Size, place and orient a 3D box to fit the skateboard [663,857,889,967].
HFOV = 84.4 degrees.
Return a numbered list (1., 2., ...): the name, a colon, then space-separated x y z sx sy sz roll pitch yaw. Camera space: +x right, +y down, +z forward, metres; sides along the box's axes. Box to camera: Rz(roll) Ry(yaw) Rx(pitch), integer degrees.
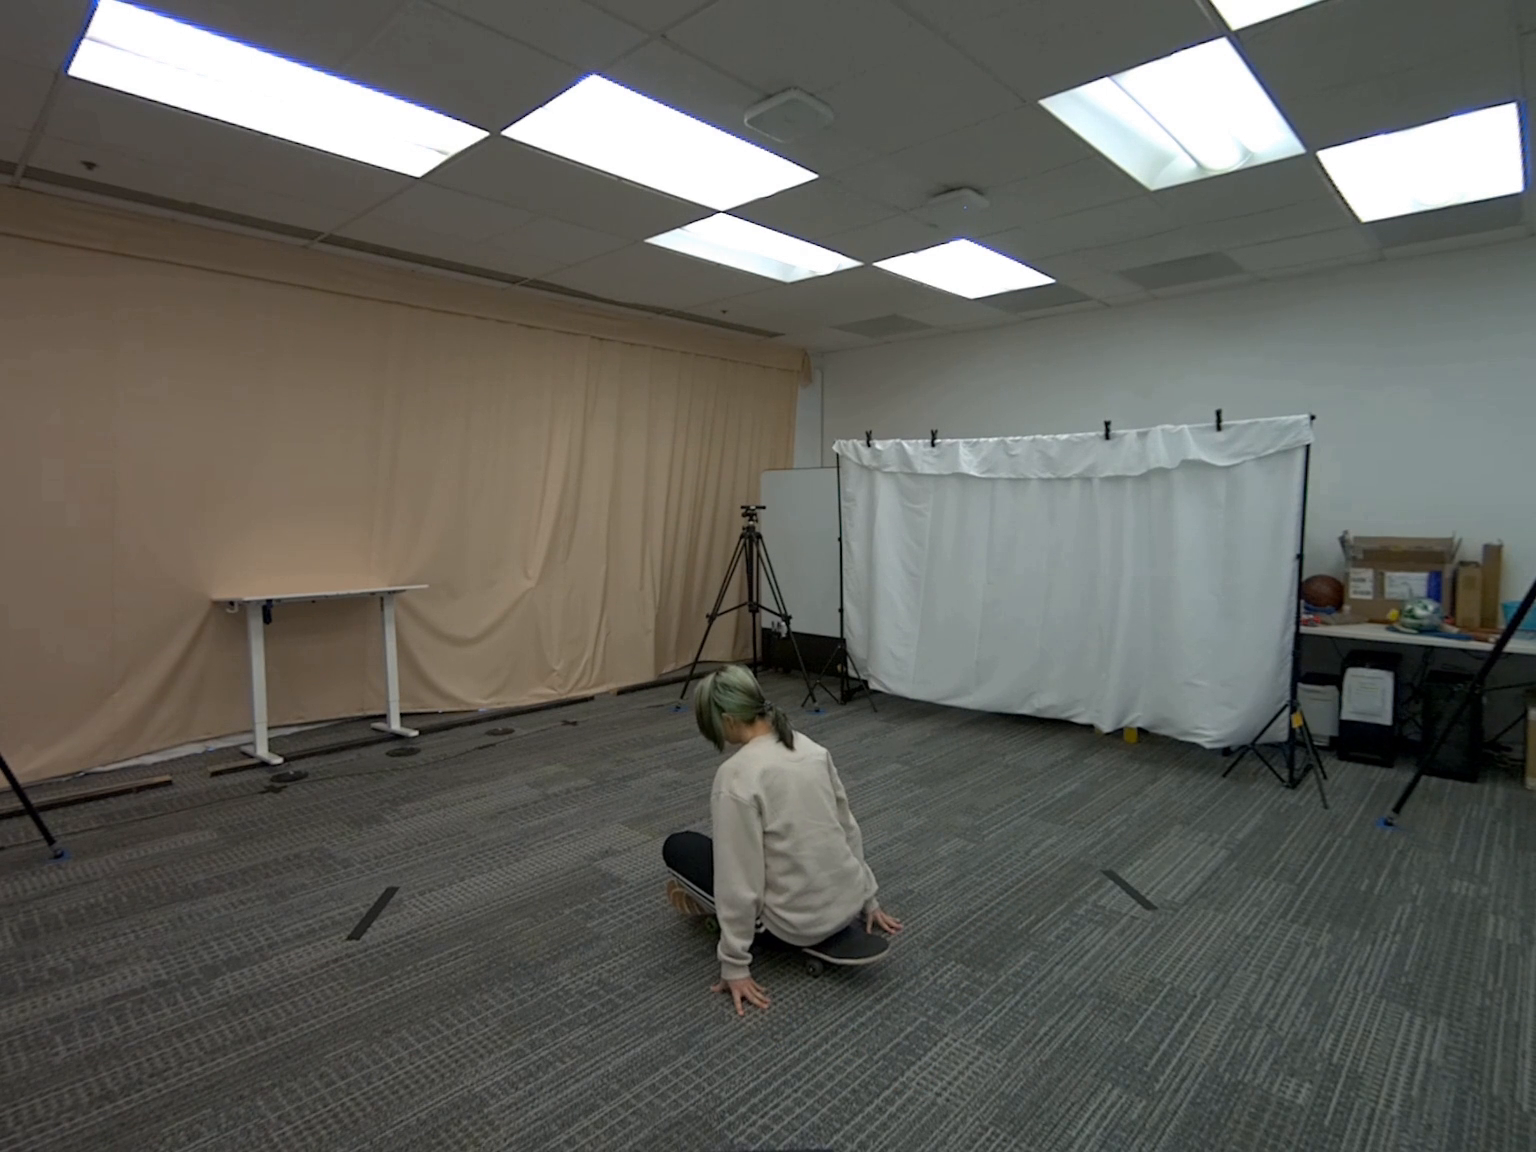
1. skateboard: 0.015 1.115 2.675 0.811 0.110 0.188 4 9 38
